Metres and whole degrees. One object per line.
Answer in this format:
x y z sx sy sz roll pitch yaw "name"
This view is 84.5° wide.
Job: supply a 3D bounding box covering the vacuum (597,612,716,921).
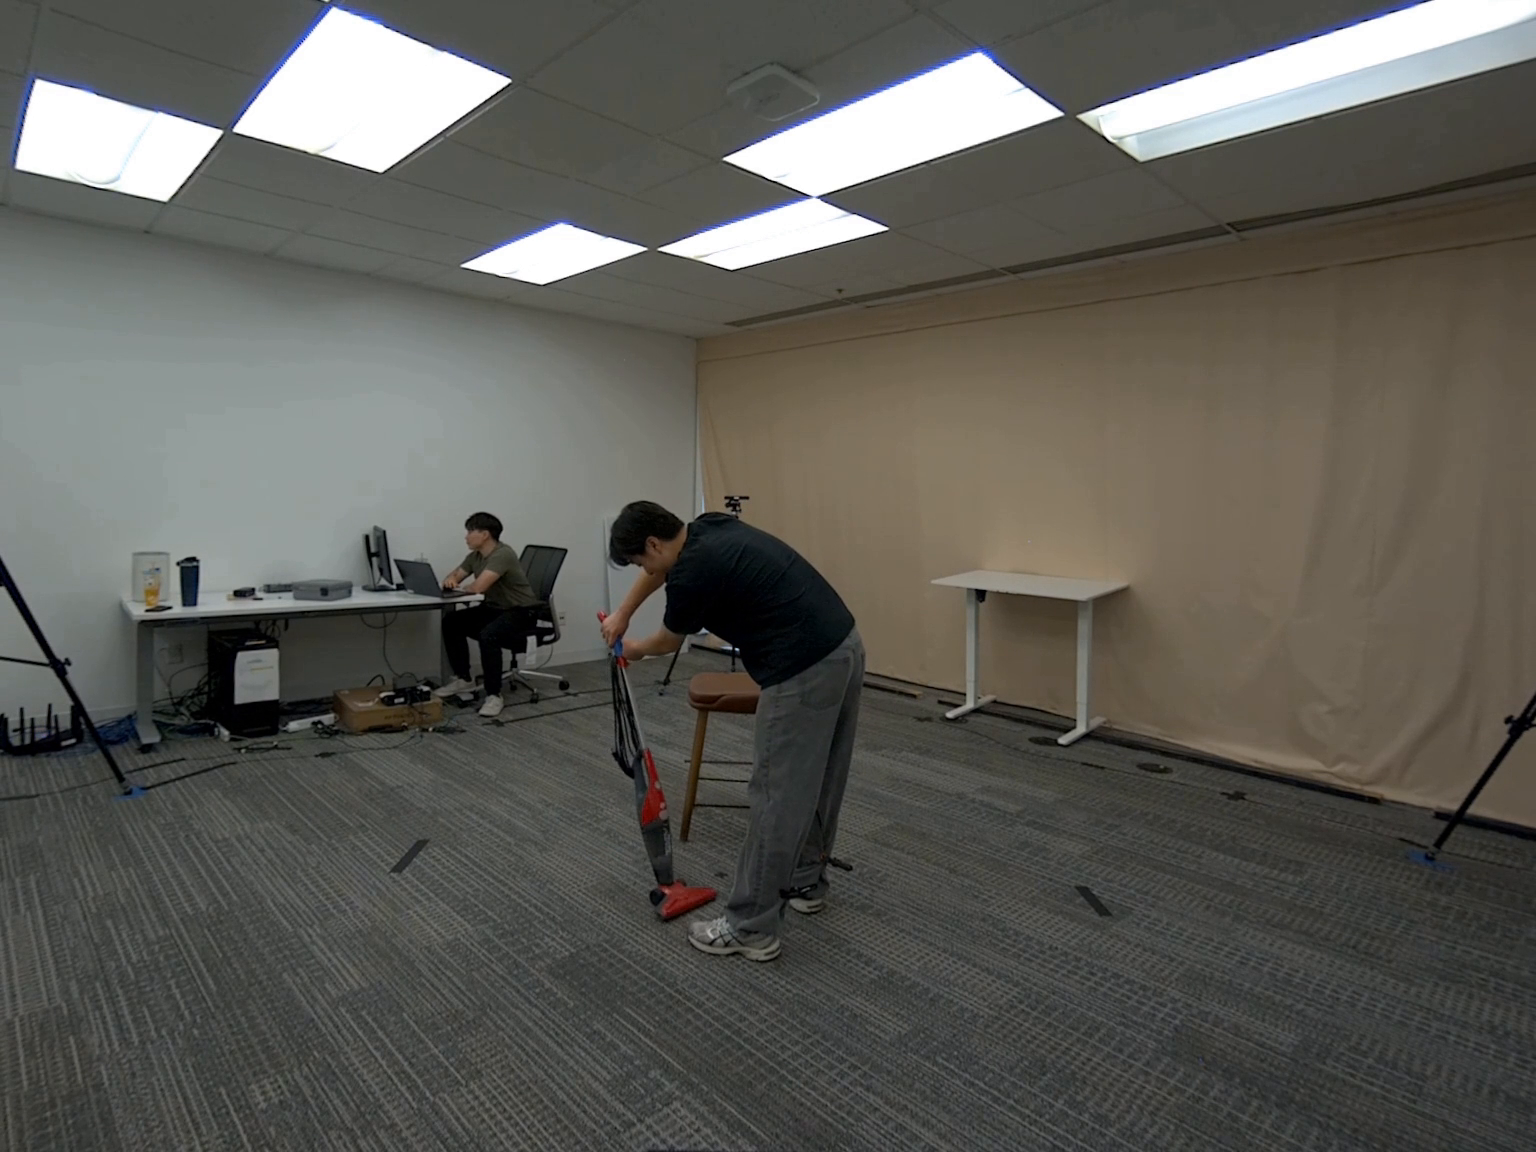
-0.473 0.640 3.021 0.145 1.066 0.246 -31 -20 35 "vacuum"
